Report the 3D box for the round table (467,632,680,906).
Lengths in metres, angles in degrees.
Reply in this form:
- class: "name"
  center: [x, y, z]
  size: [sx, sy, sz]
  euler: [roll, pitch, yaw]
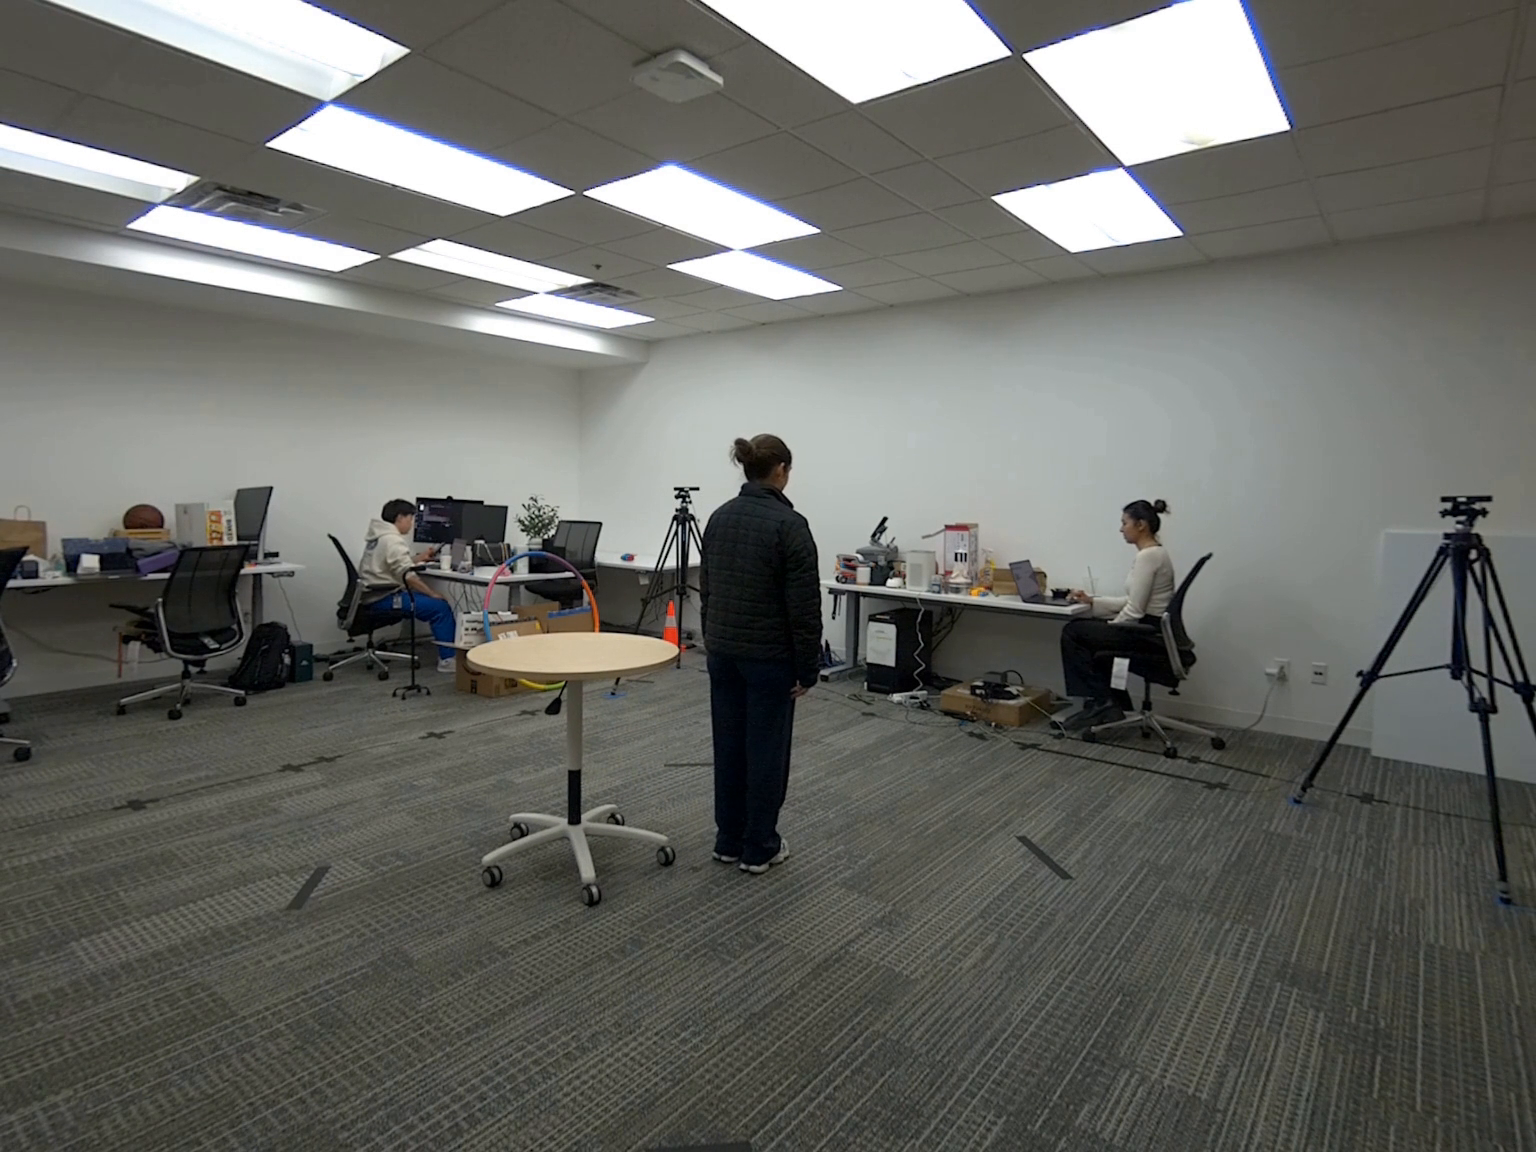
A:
- class: "round table"
  center: [-0.694, 0.661, 3.158]
  size: [0.784, 0.784, 0.789]
  euler: [0, 4, -2]
